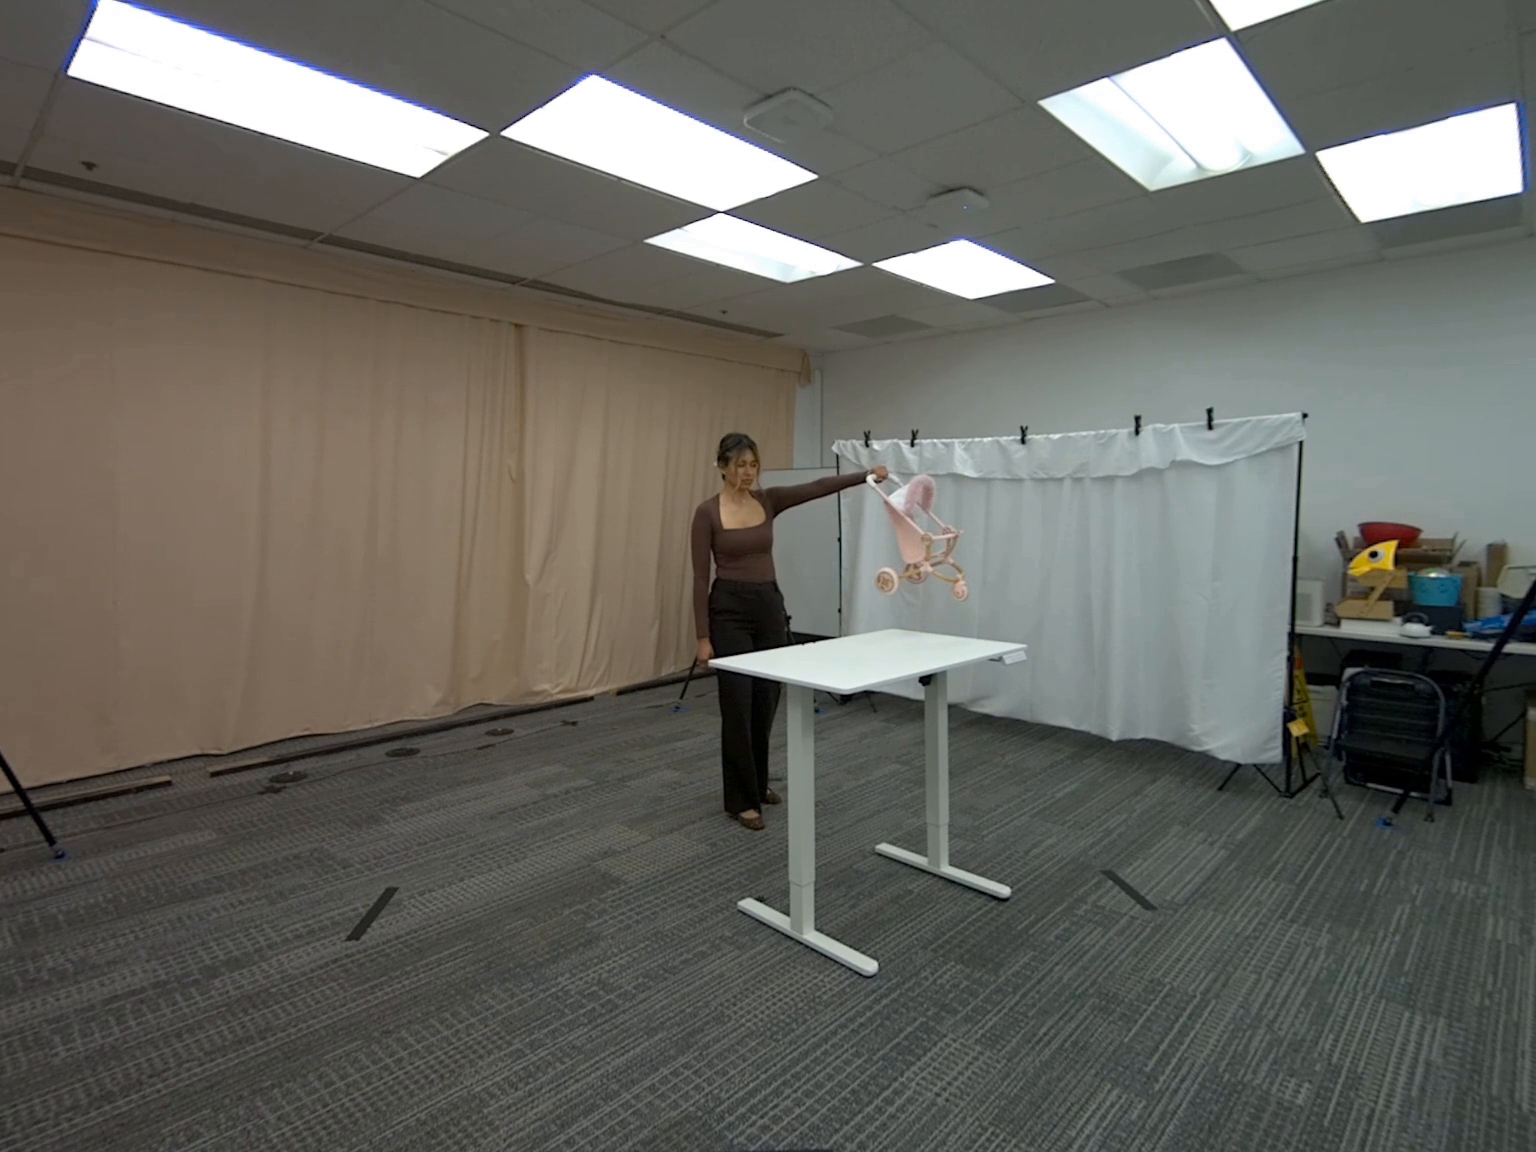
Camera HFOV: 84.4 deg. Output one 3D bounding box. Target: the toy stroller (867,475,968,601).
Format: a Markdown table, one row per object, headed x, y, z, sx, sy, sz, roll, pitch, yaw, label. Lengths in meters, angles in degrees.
| x | y | z | sx | sy | sz | roll | pitch | yaw | label |
| --- | --- | --- | --- | --- | --- | --- | --- | --- | --- |
| 0.608 | -0.158 | 3.333 | 0.352 | 0.533 | 0.273 | -4 | 5 | 43 | toy stroller |
